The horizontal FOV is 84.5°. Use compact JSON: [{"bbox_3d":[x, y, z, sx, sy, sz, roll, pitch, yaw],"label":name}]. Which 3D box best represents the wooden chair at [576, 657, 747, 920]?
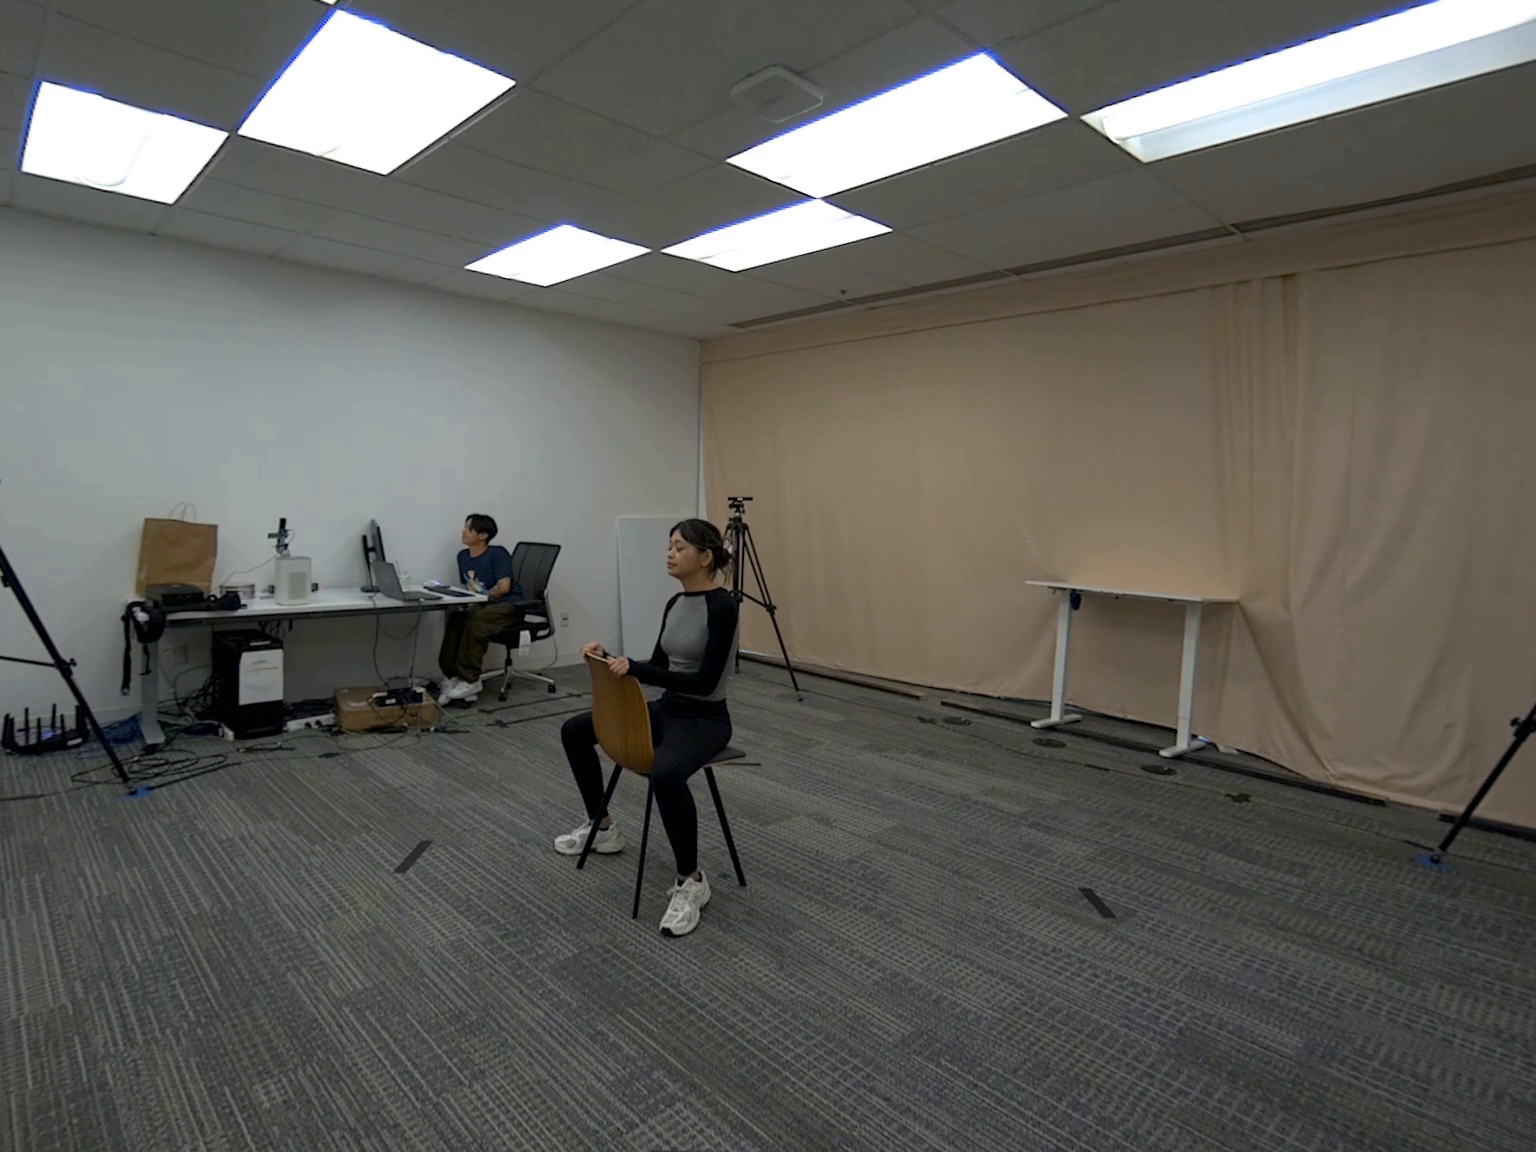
[{"bbox_3d":[-0.380,0.681,3.058,0.513,0.873,0.490,-7,8,-35],"label":"wooden chair"}]
